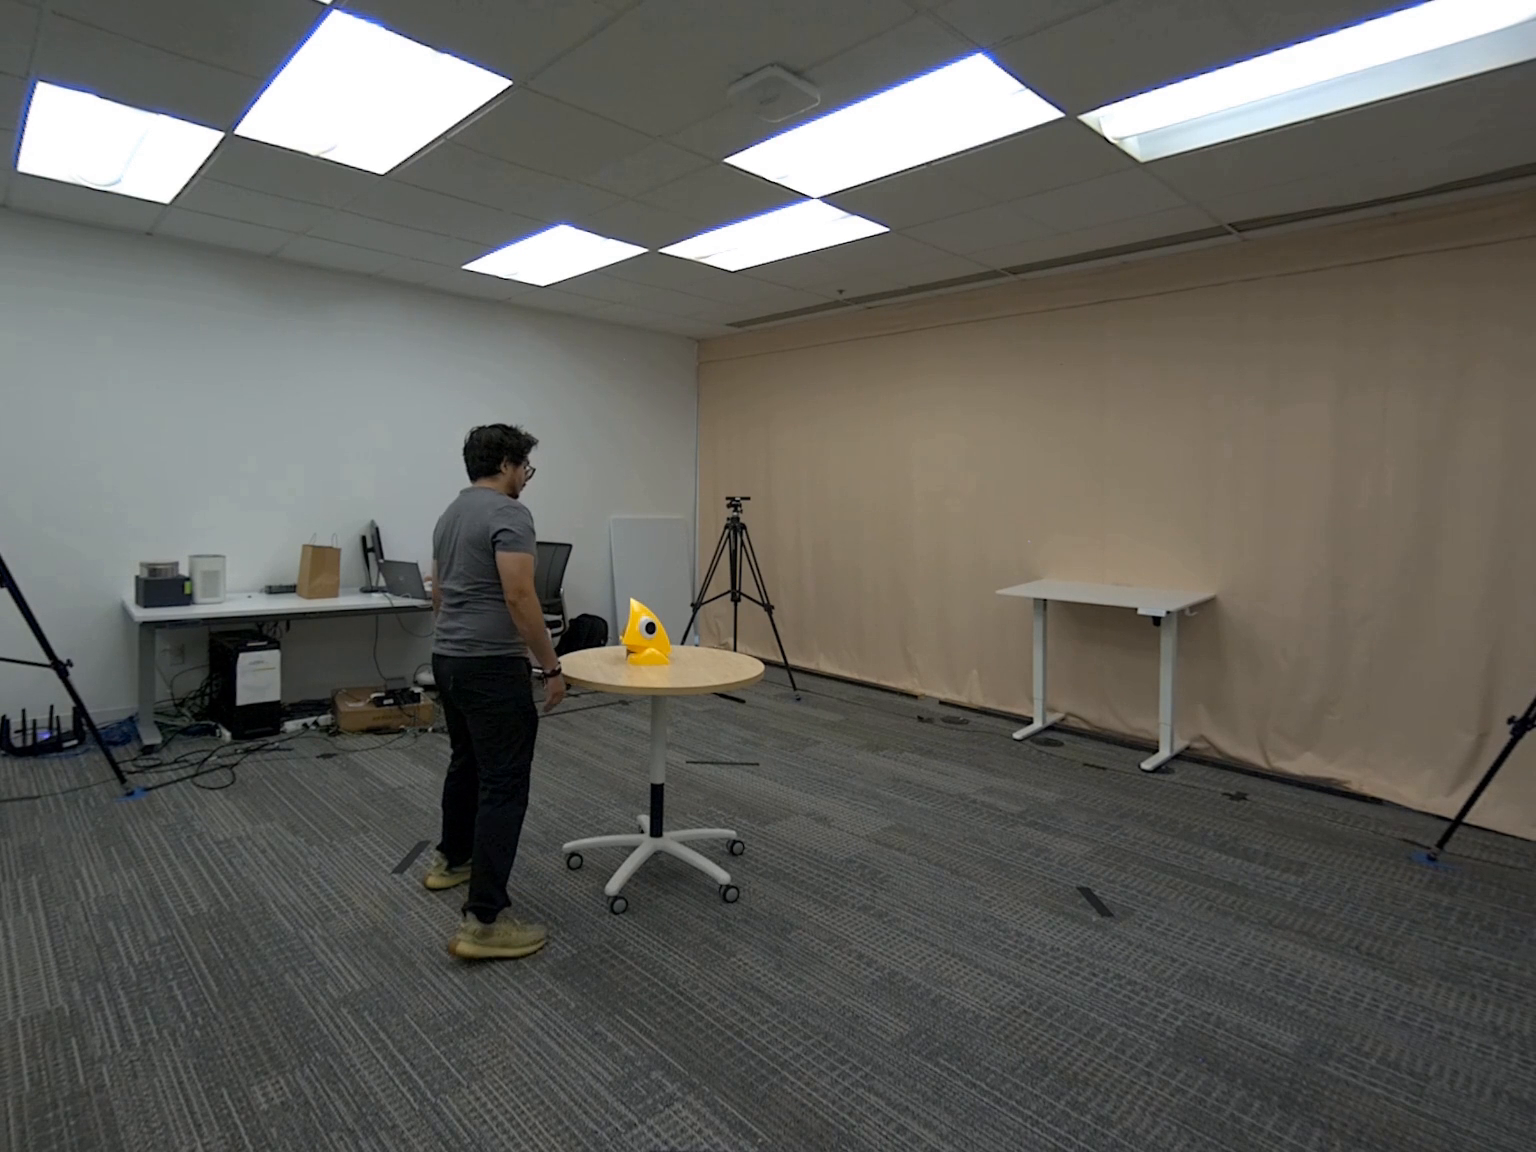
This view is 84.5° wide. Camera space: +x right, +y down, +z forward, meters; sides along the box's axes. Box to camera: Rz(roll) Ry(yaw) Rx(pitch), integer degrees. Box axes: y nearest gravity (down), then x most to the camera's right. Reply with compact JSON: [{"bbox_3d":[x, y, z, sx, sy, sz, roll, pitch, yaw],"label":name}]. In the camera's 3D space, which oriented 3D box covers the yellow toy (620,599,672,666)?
[{"bbox_3d":[-0.459,0.199,3.127,0.191,0.230,0.207,1,4,-11],"label":"yellow toy"}]
